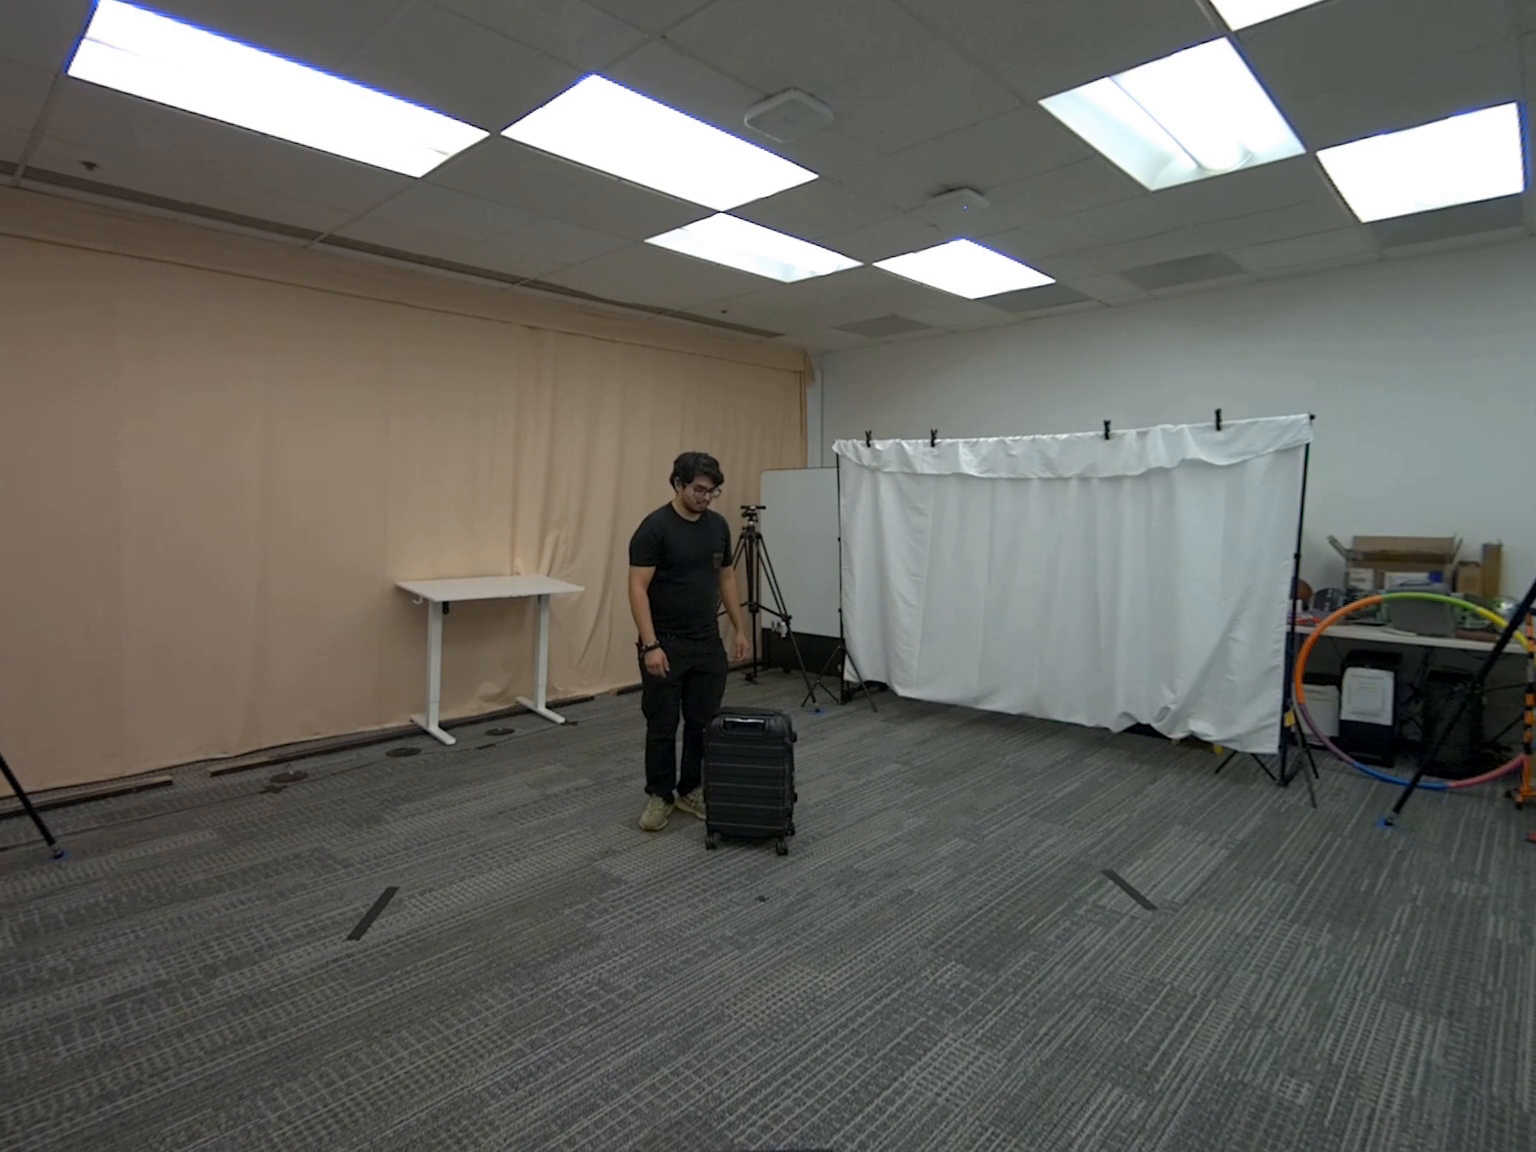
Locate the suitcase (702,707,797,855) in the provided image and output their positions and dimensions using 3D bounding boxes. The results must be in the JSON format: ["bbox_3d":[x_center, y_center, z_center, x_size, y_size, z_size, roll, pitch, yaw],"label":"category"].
[{"bbox_3d":[-0.075,0.825,3.504,0.380,0.549,0.245,0,2,12],"label":"suitcase"}]
